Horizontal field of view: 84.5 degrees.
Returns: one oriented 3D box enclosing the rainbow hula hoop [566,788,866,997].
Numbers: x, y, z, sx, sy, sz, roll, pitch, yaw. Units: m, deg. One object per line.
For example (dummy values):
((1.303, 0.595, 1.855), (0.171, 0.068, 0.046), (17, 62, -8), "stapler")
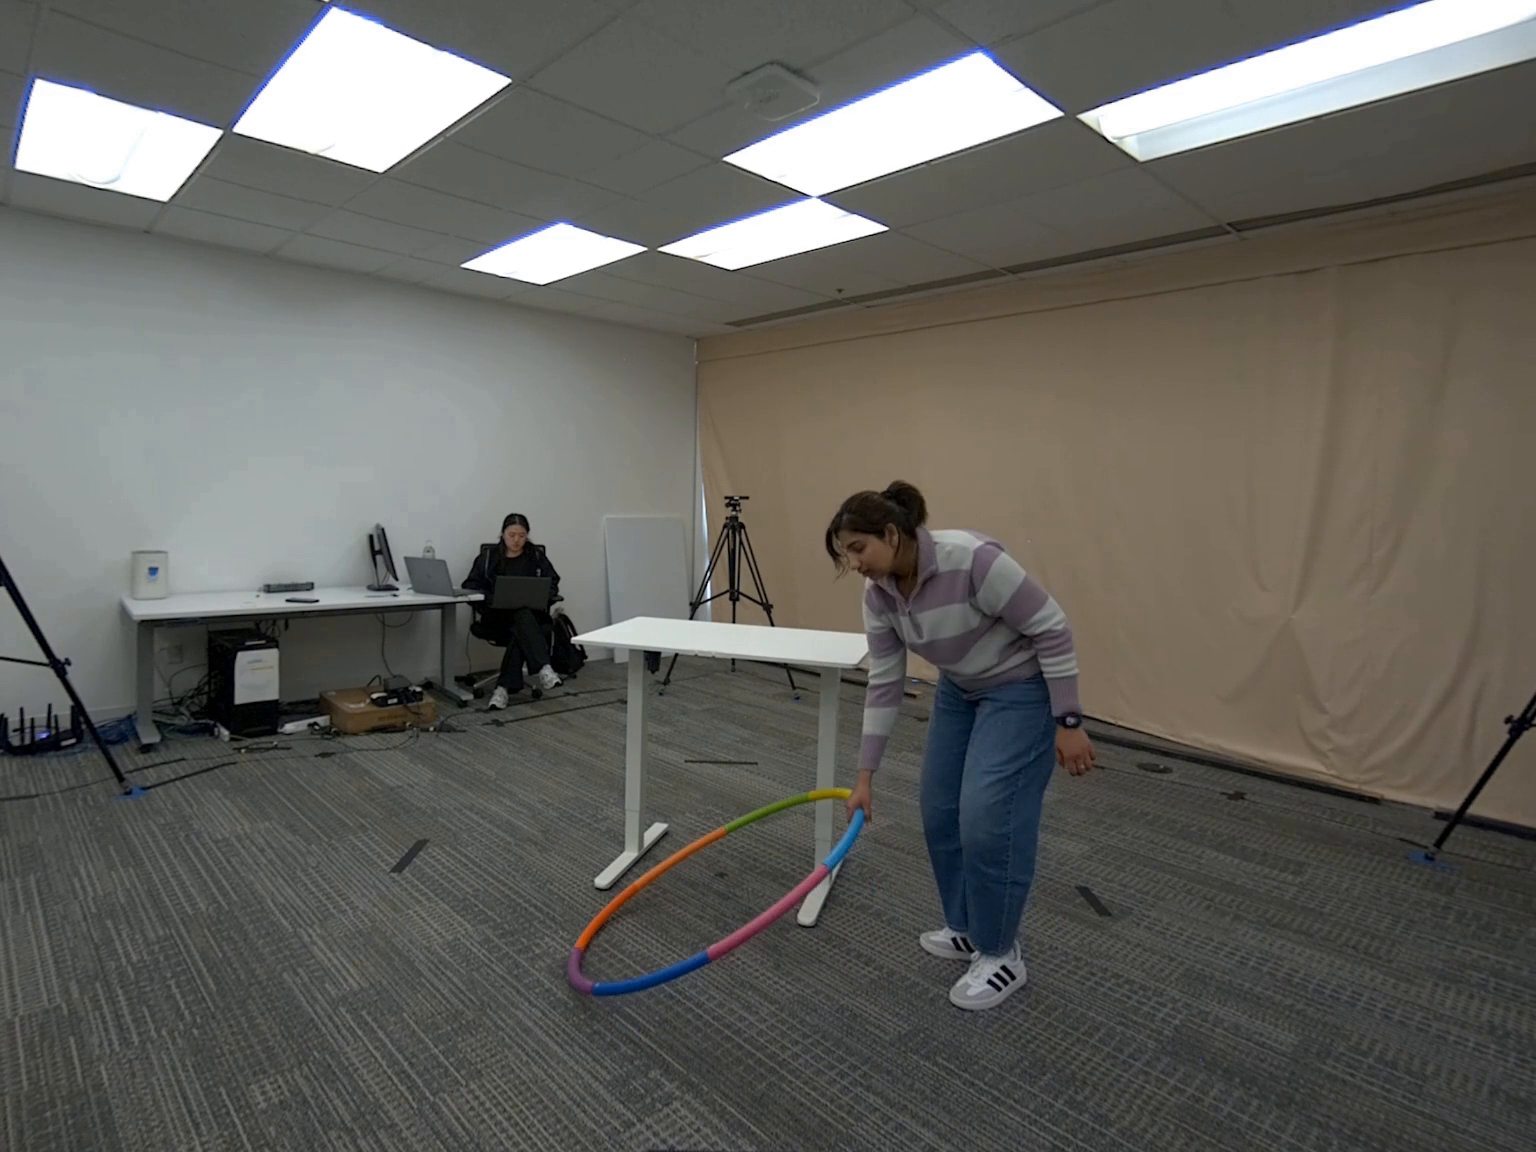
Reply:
((-0.161, 0.911, 2.498), (0.978, 0.035, 0.978), (-28, 1, -2), "rainbow hula hoop")
